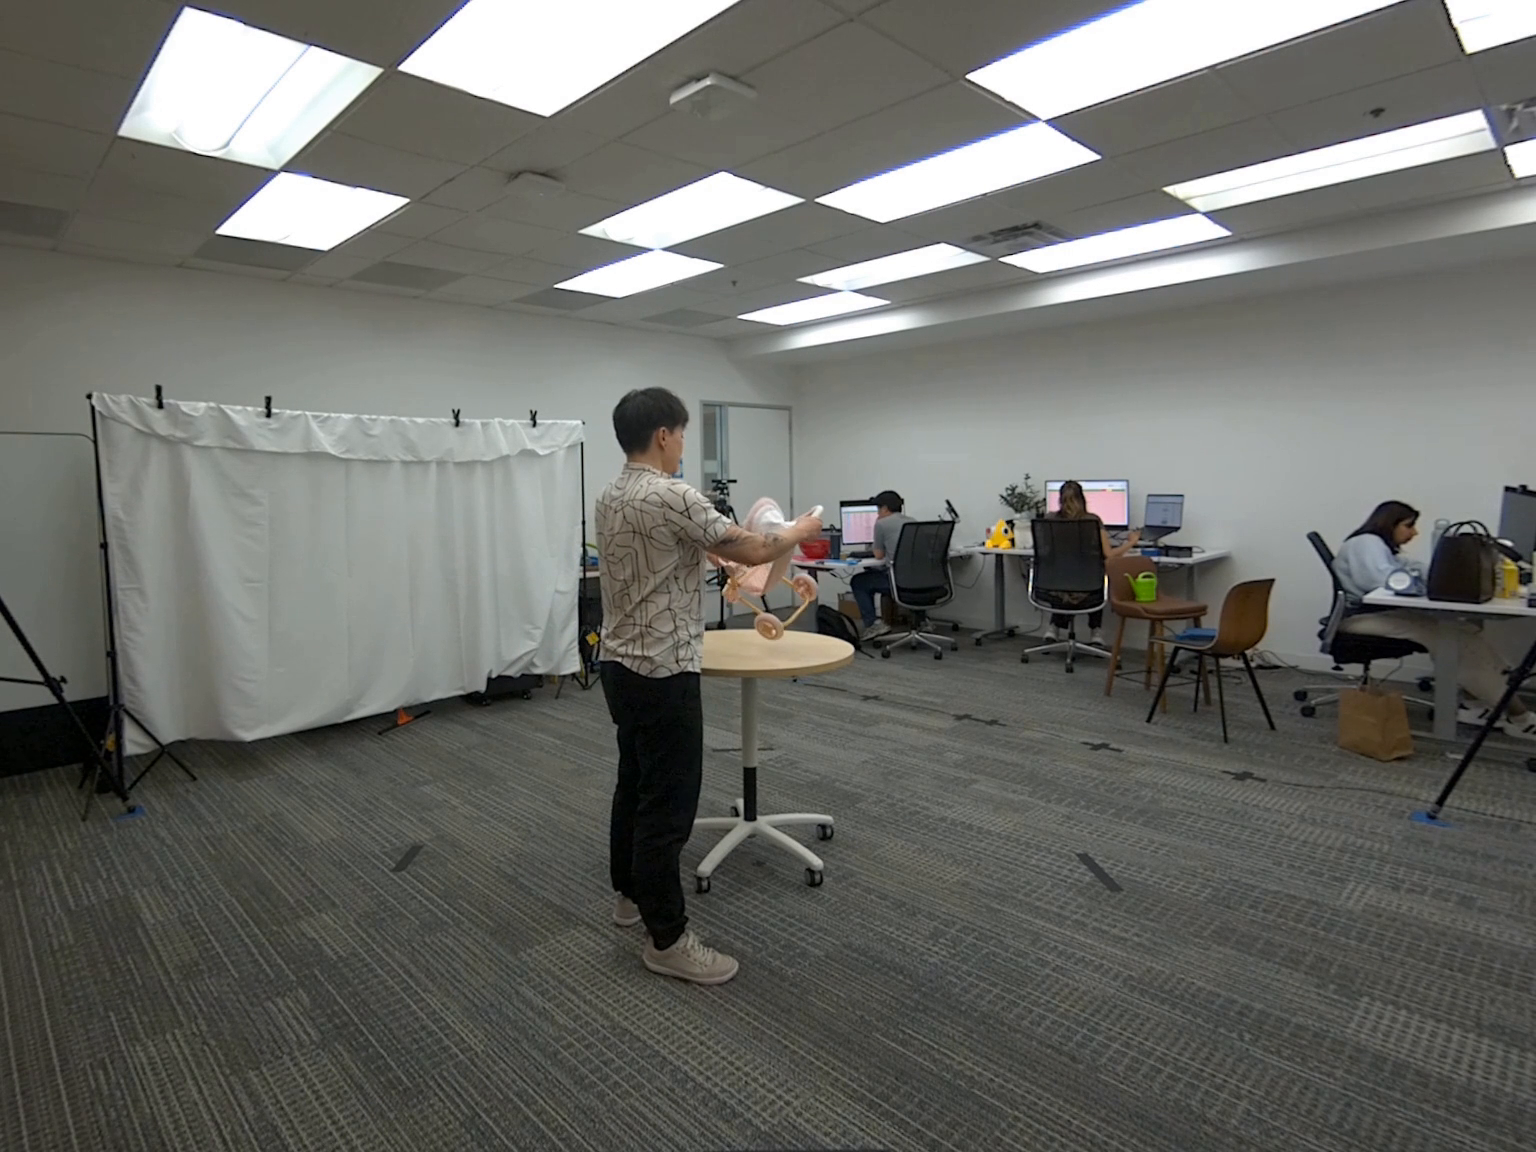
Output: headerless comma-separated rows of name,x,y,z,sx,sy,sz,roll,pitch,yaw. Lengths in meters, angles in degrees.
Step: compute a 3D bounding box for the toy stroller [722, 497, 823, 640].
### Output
toy stroller,-0.007,-0.052,2.959,0.352,0.522,0.280,29,45,25
